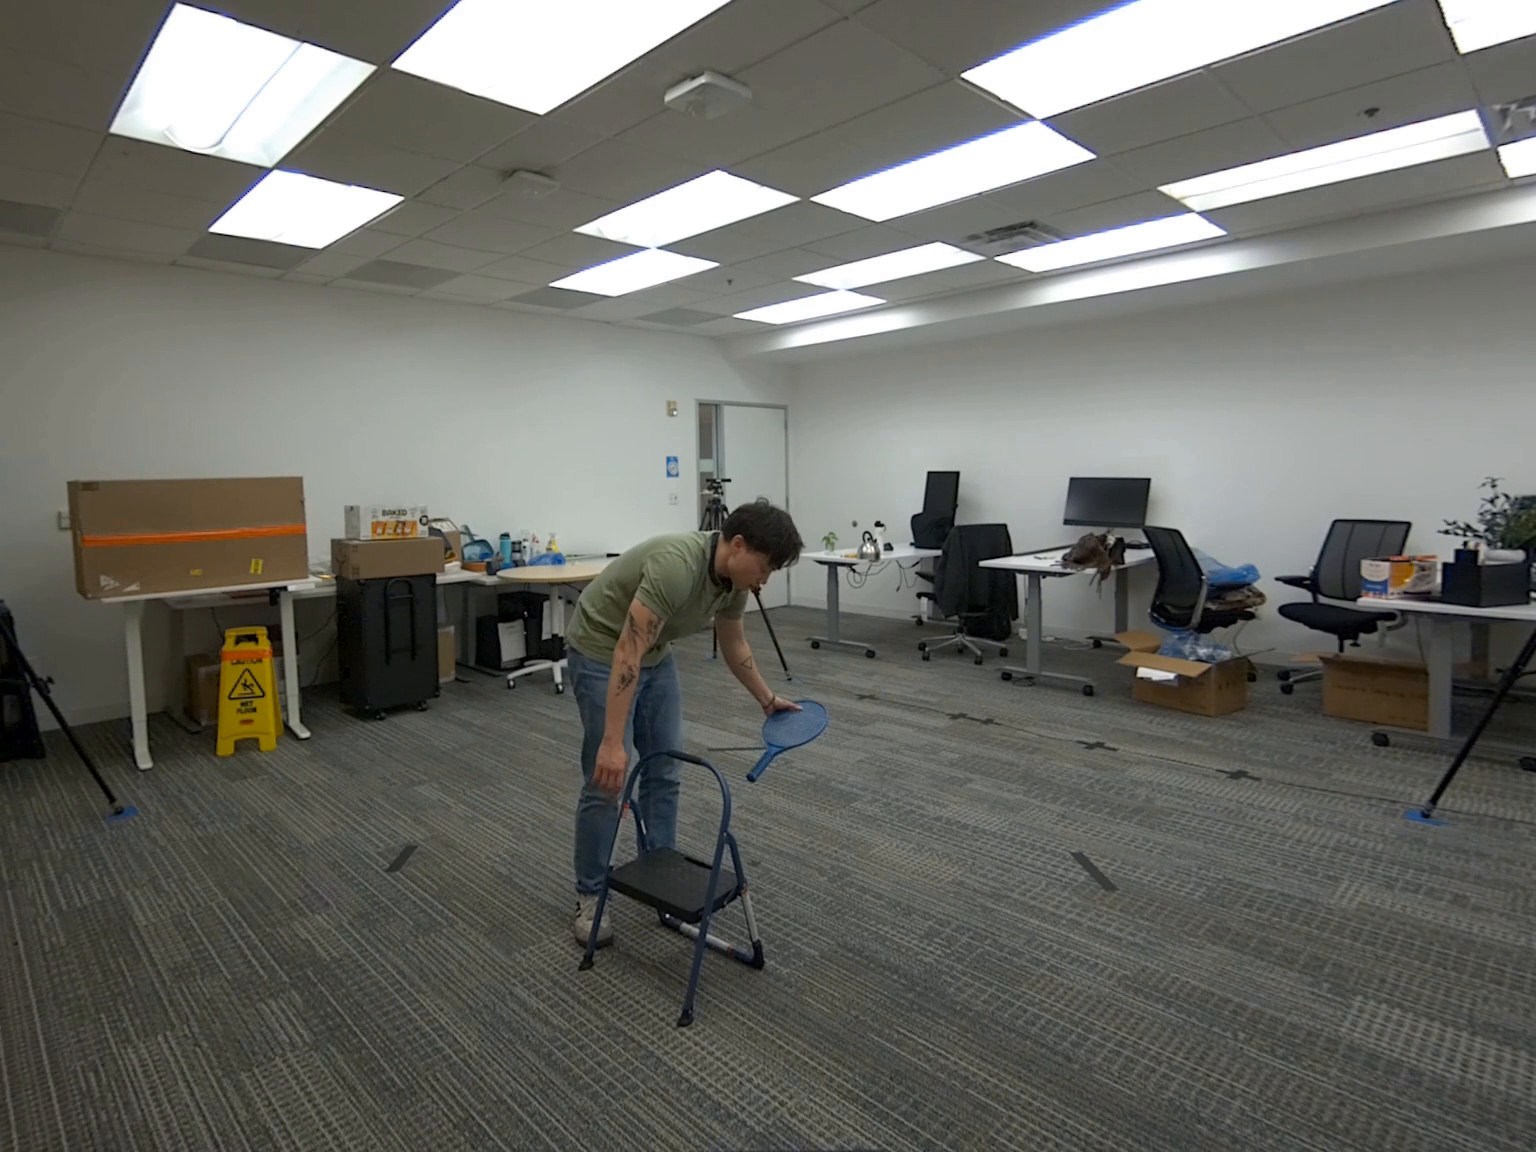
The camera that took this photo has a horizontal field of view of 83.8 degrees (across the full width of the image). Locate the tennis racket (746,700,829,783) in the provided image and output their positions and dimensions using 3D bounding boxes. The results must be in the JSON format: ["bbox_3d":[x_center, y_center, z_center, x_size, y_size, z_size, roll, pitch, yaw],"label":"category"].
[{"bbox_3d":[0.042,0.546,2.827,0.220,0.031,0.429,4,28,36],"label":"tennis racket"}]
